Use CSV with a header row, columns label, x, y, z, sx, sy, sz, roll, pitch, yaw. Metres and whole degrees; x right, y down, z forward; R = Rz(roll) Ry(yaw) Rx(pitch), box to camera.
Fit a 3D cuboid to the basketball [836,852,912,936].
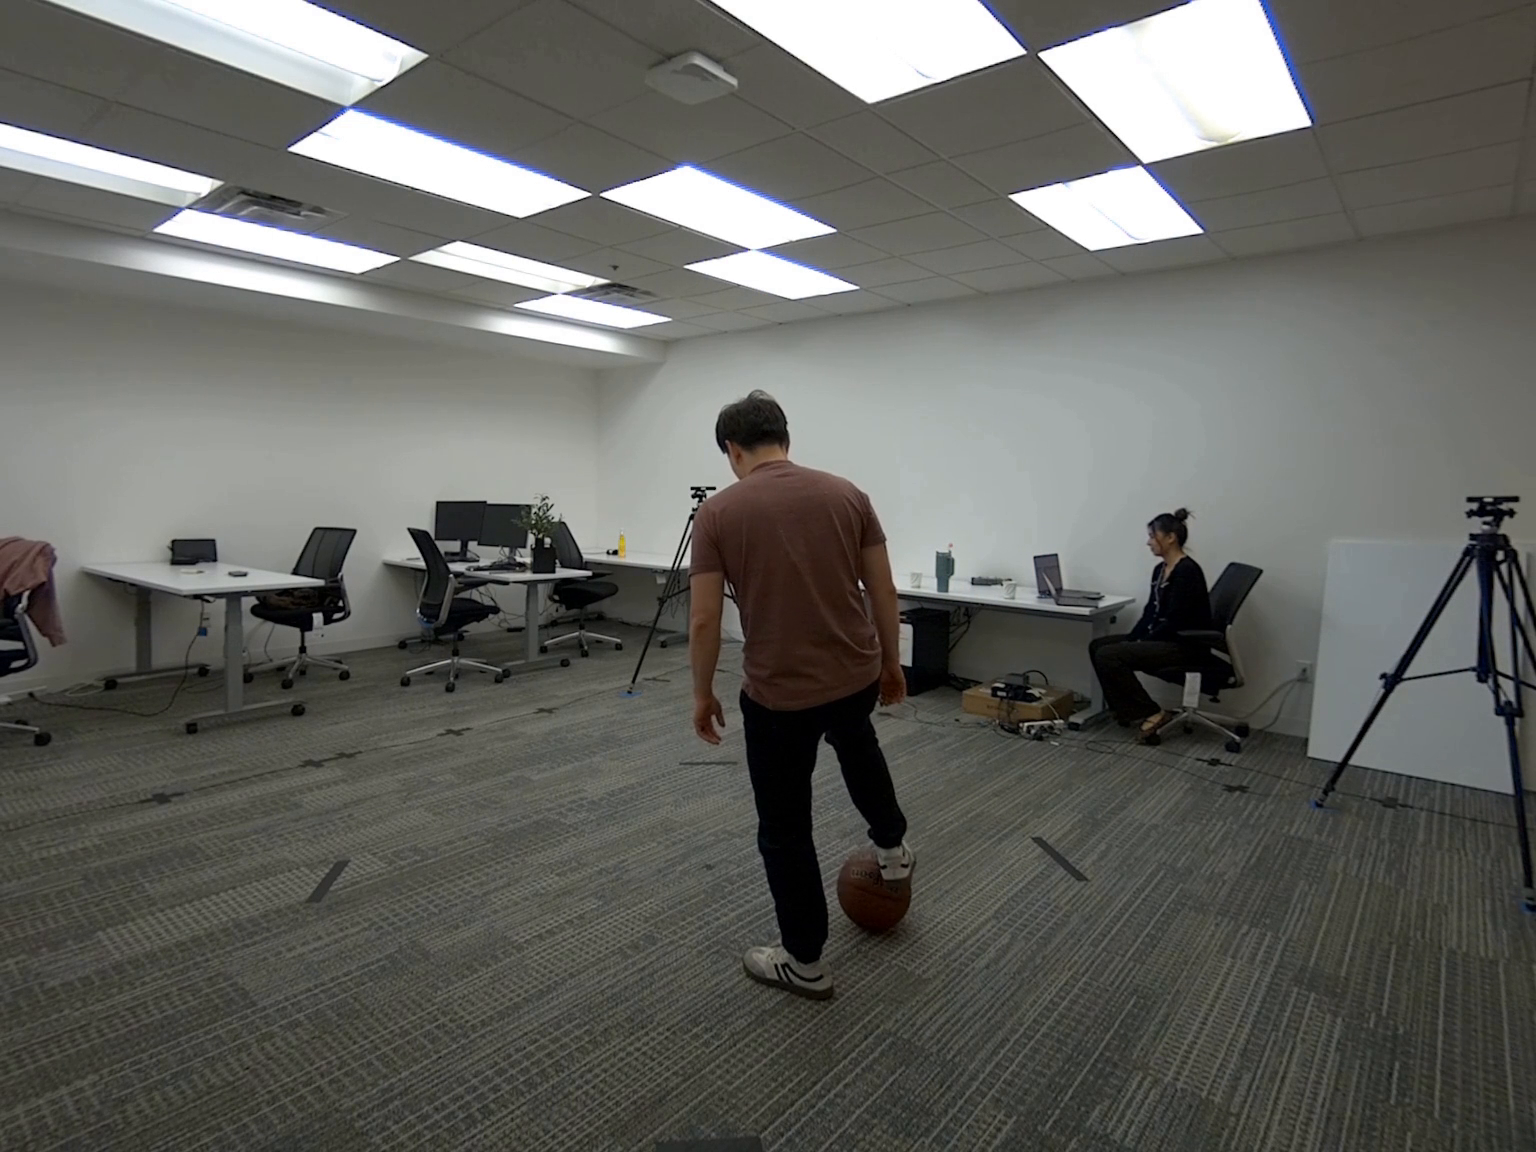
label,x,y,z,sx,sy,sz,roll,pitch,yaw
basketball,0.329,0.997,2.721,0.235,0.235,0.237,1,4,-2
